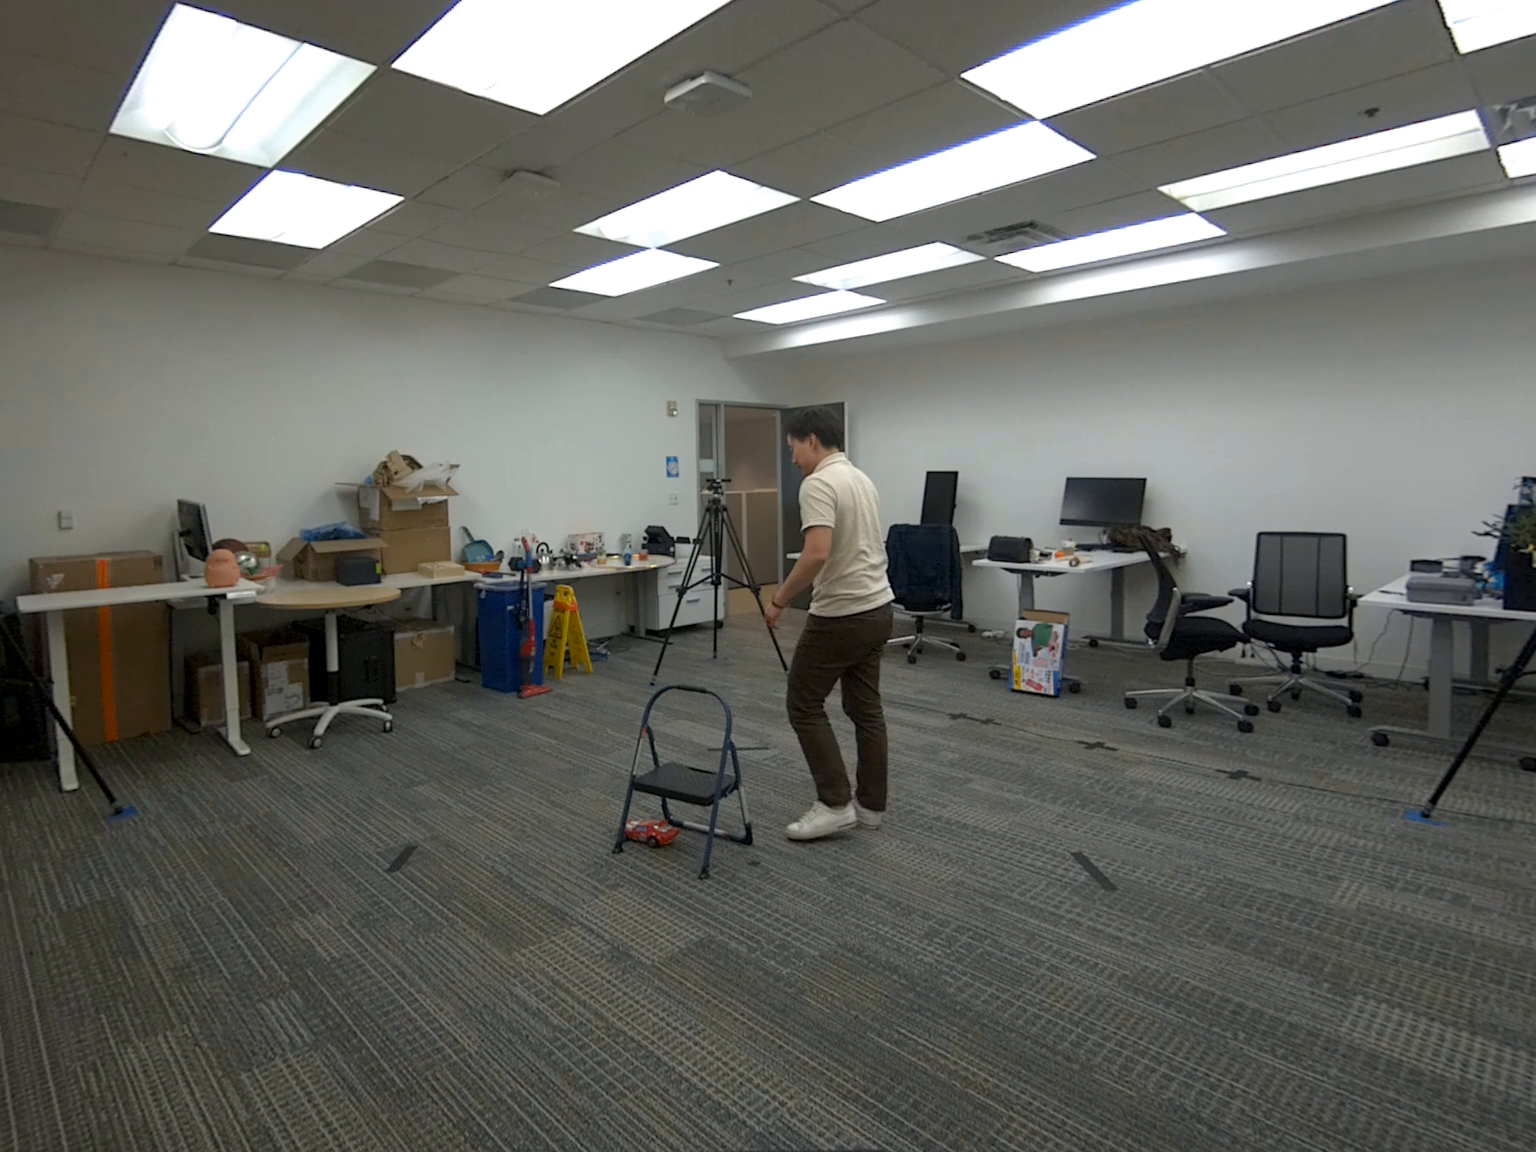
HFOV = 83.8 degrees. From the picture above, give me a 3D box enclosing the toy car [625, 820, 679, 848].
[{"bbox_3d":[-0.459,0.996,3.317,0.260,0.083,0.127,-11,0,30],"label":"toy car"}]
